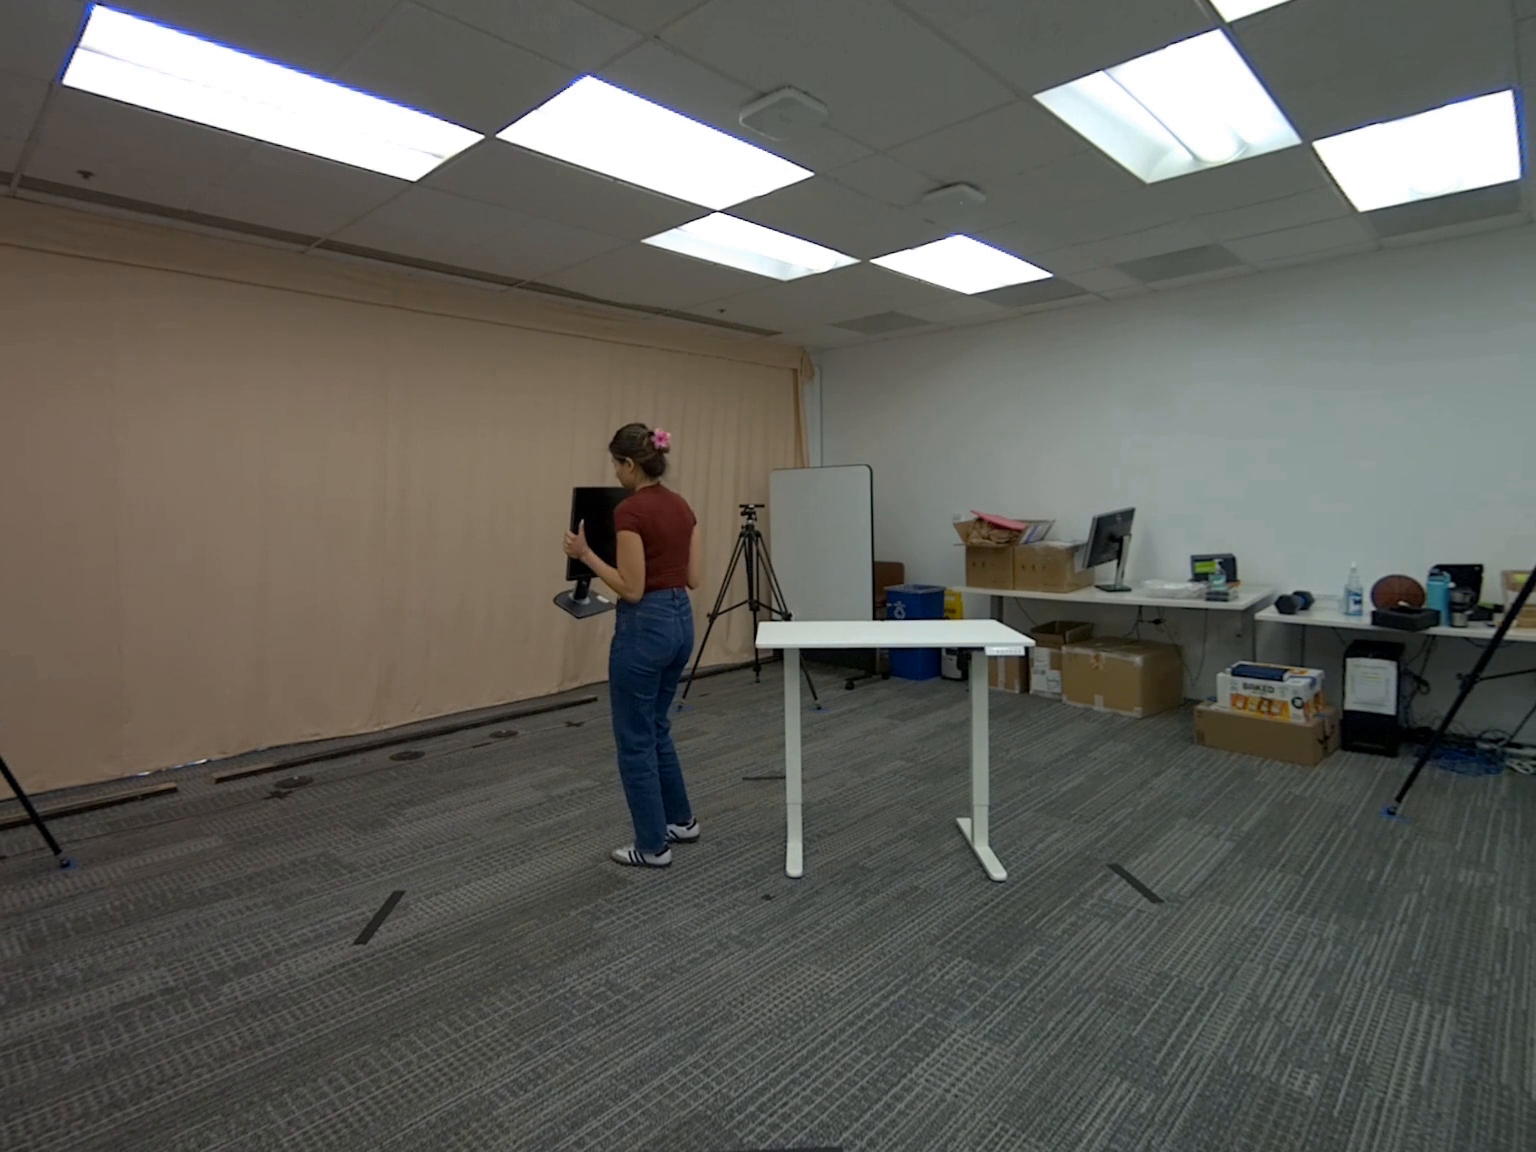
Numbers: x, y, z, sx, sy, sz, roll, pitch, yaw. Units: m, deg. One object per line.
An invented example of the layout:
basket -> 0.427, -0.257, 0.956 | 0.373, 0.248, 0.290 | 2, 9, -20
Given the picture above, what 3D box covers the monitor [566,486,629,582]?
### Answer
monitor -> -0.655, -0.108, 3.371 | 0.192, 0.521, 0.526 | 27, 16, 23
